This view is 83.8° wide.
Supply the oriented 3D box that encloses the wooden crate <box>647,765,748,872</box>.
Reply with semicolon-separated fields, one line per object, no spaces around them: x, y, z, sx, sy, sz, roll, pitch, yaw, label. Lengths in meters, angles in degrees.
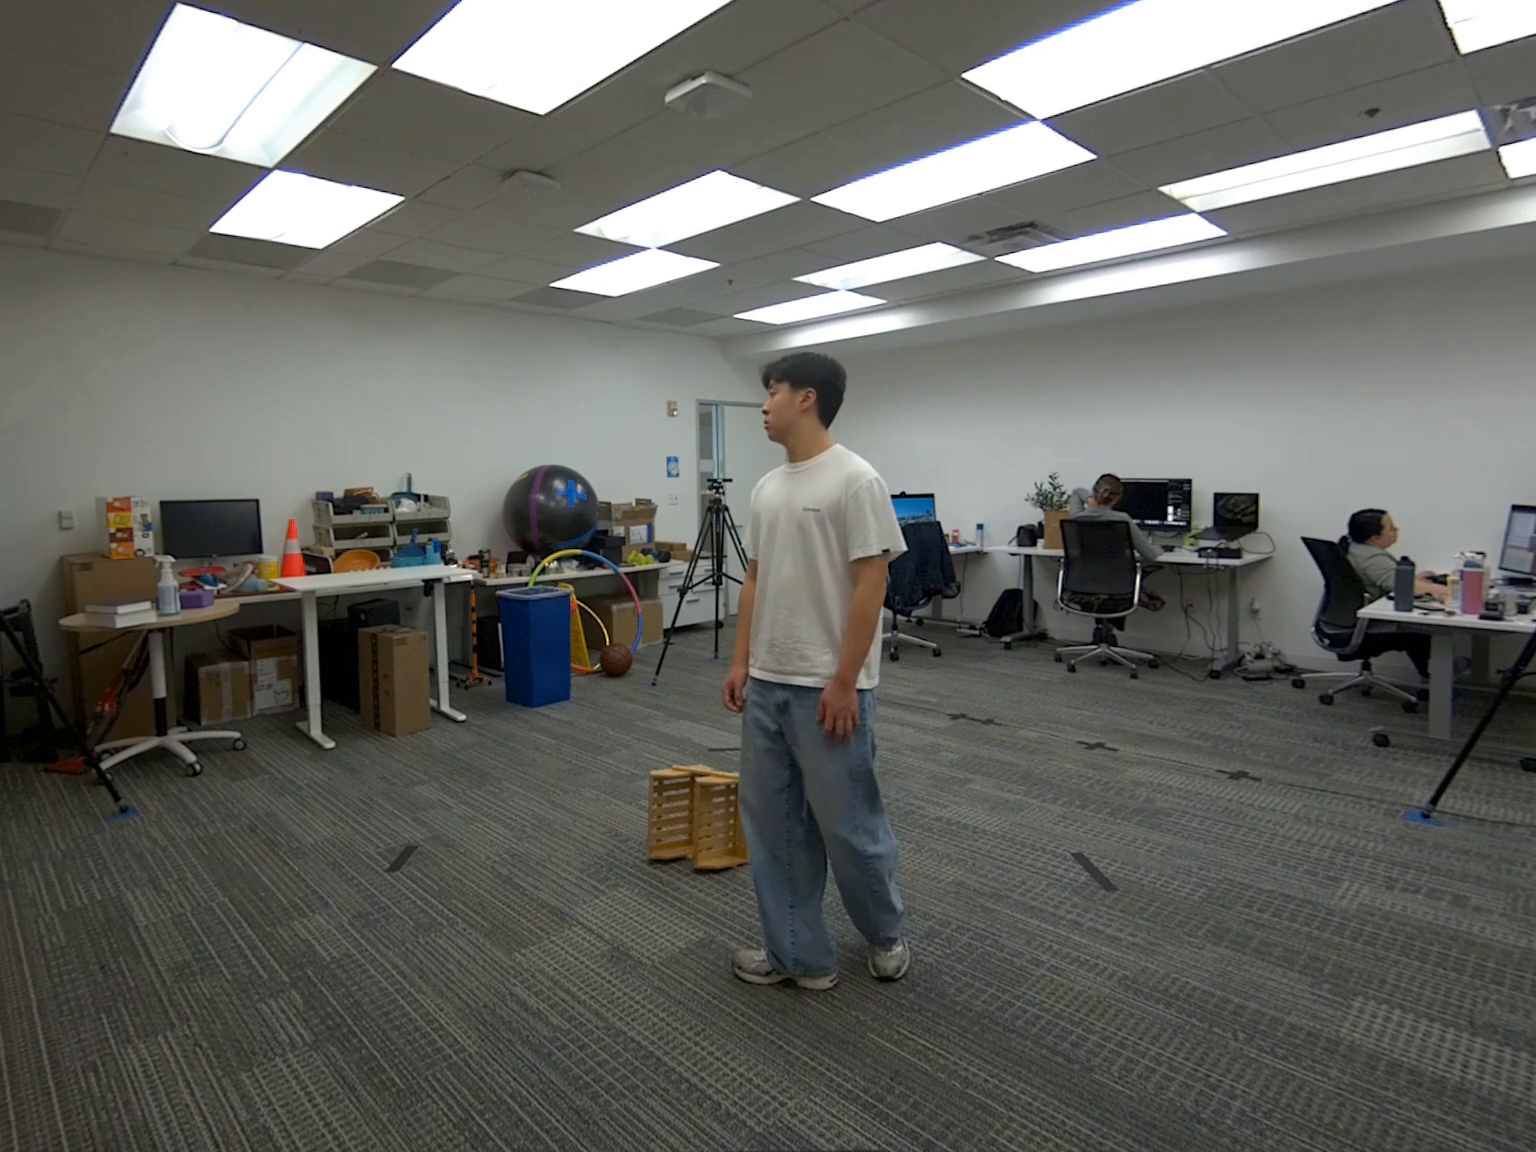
-0.256;0.878;3.124;0.293;0.325;0.281;2;-2;-38;wooden crate
